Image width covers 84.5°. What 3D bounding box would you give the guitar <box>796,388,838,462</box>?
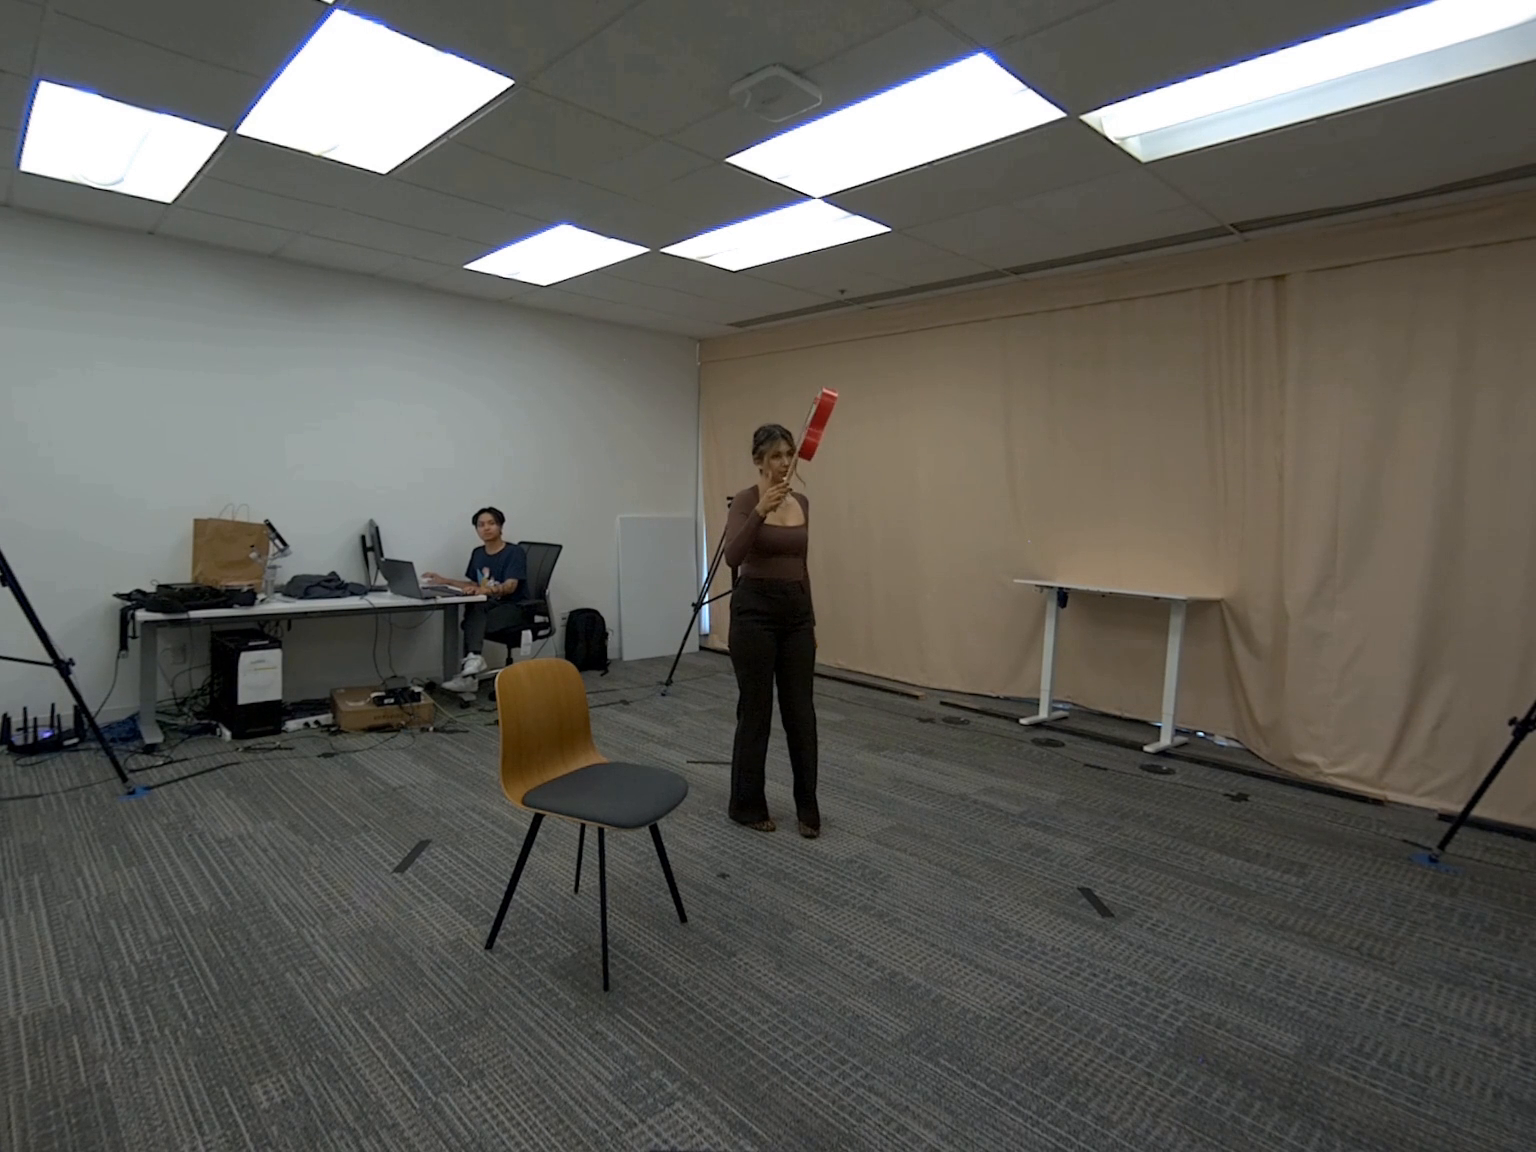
[{"bbox_3d":[0.128,-0.466,3.183,0.070,0.495,0.194,21,14,-3],"label":"guitar"}]
